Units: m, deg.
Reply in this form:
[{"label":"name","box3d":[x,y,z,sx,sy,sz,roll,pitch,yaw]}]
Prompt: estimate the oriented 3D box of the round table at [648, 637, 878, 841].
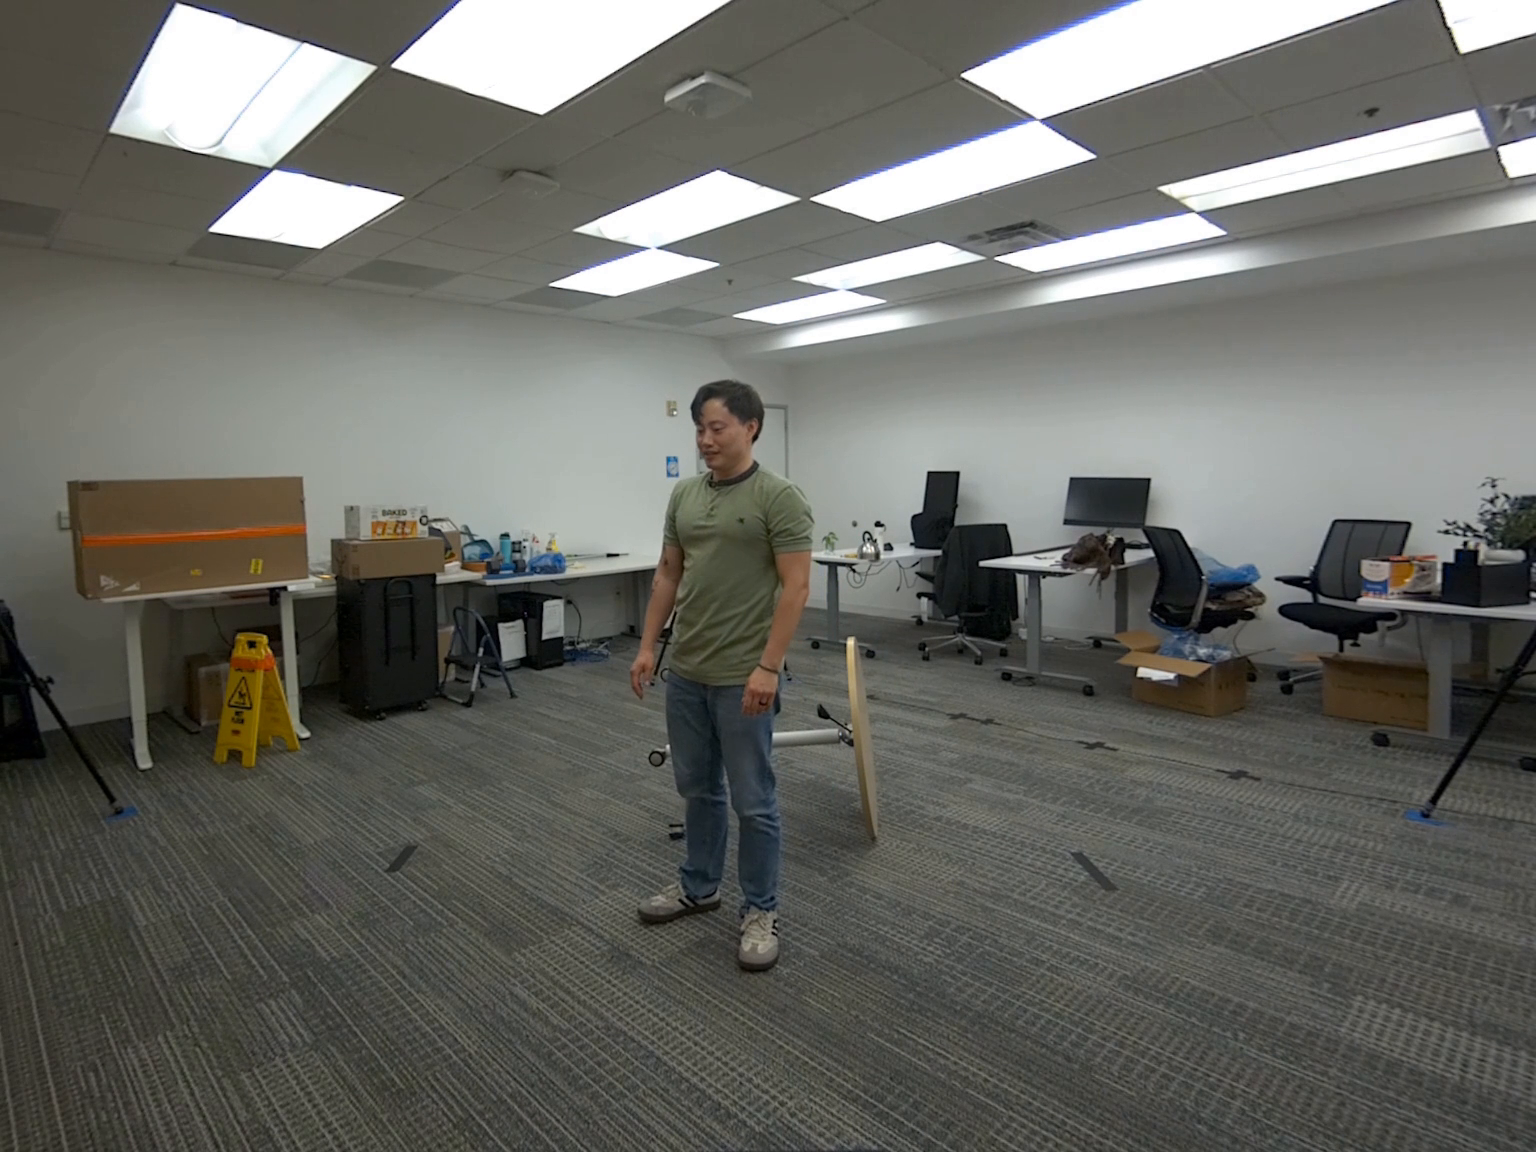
[{"label":"round table","box3d":[-0.006,0.671,3.444,0.800,0.762,0.760,-7,4,8]}]
